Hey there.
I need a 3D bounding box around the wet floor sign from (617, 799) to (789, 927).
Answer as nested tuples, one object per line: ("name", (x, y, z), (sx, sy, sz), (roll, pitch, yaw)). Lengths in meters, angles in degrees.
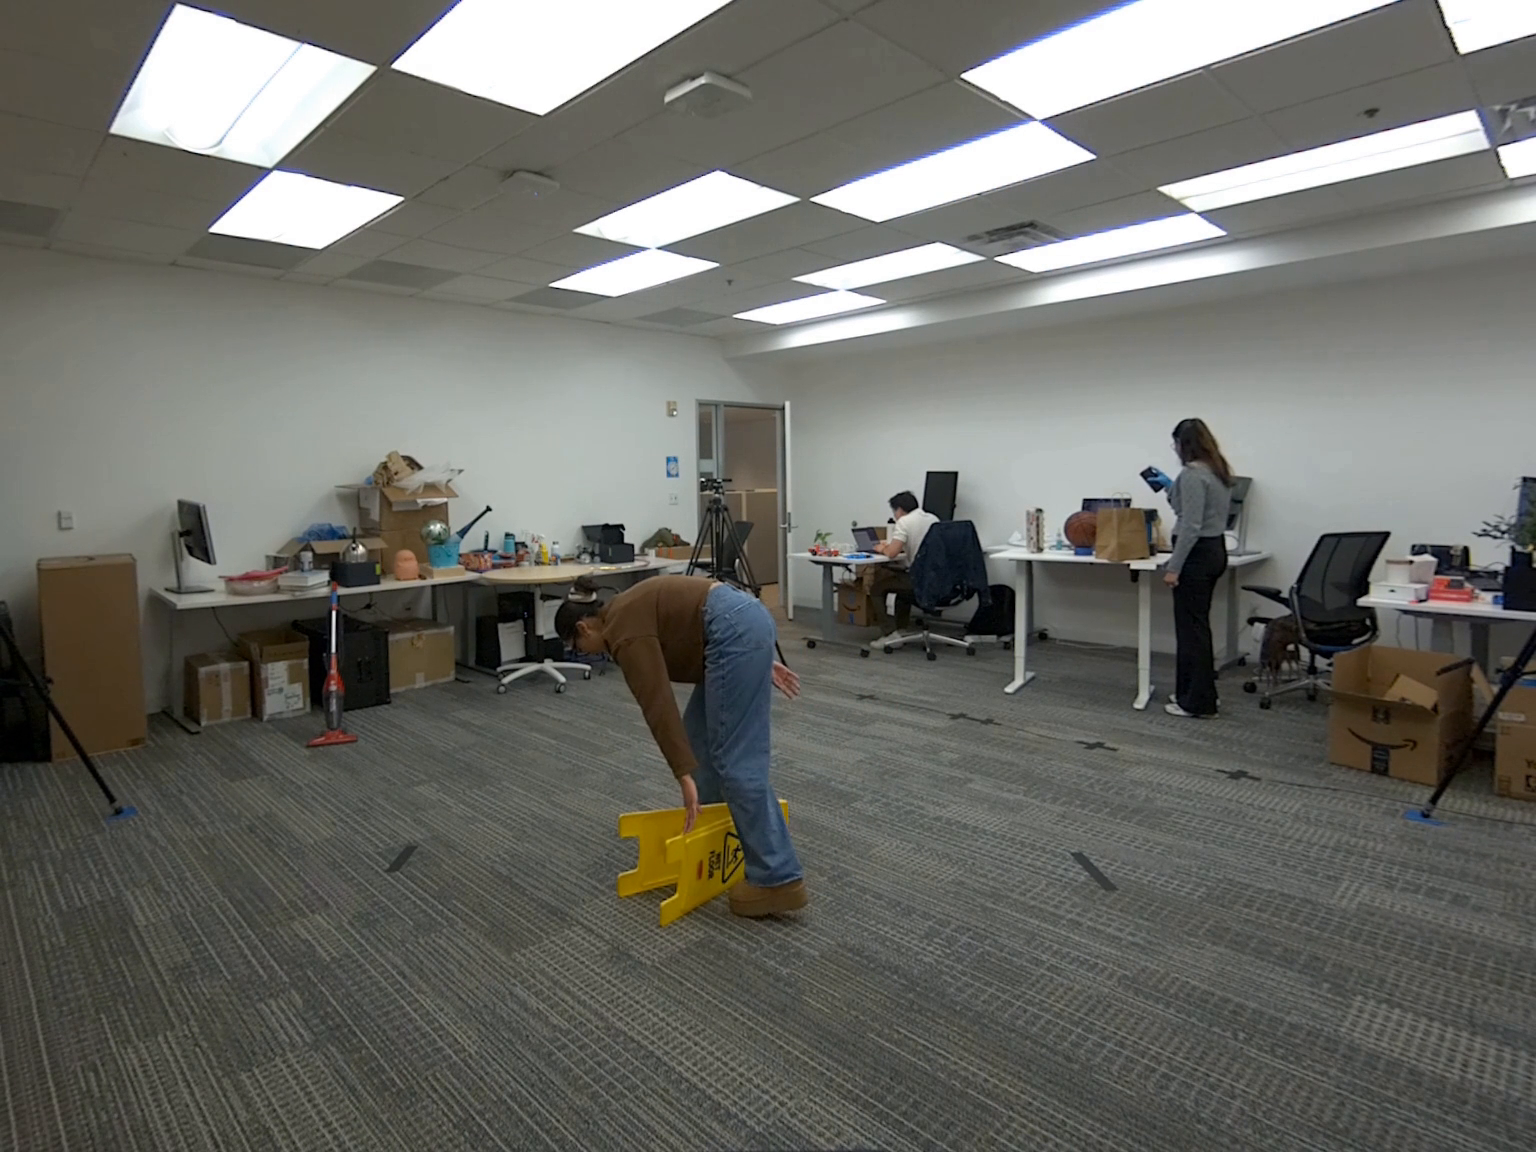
("wet floor sign", (-0.176, 0.936, 2.964), (0.628, 0.281, 0.299), (-2, 6, -40))
